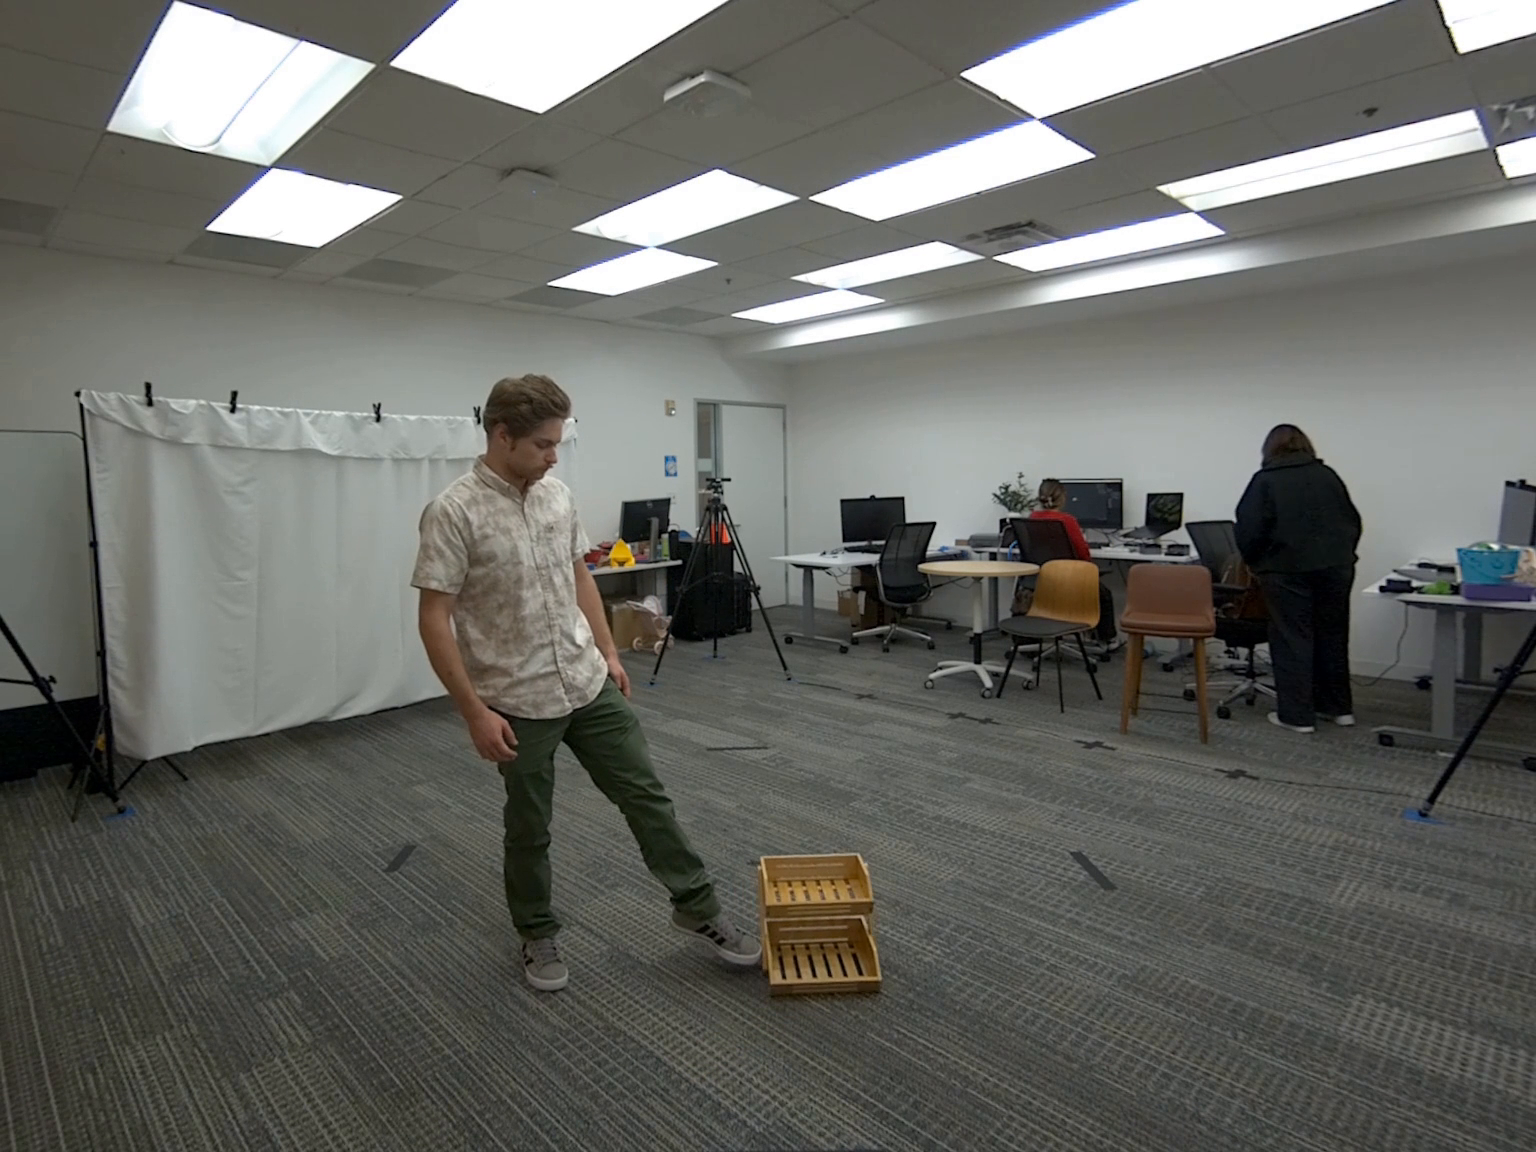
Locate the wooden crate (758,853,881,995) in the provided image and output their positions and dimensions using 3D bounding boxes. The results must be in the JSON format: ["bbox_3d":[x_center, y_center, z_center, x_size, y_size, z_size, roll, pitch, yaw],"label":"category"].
[{"bbox_3d":[0.151,0.989,2.424,0.323,0.272,0.304,-1,5,-4],"label":"wooden crate"}]
